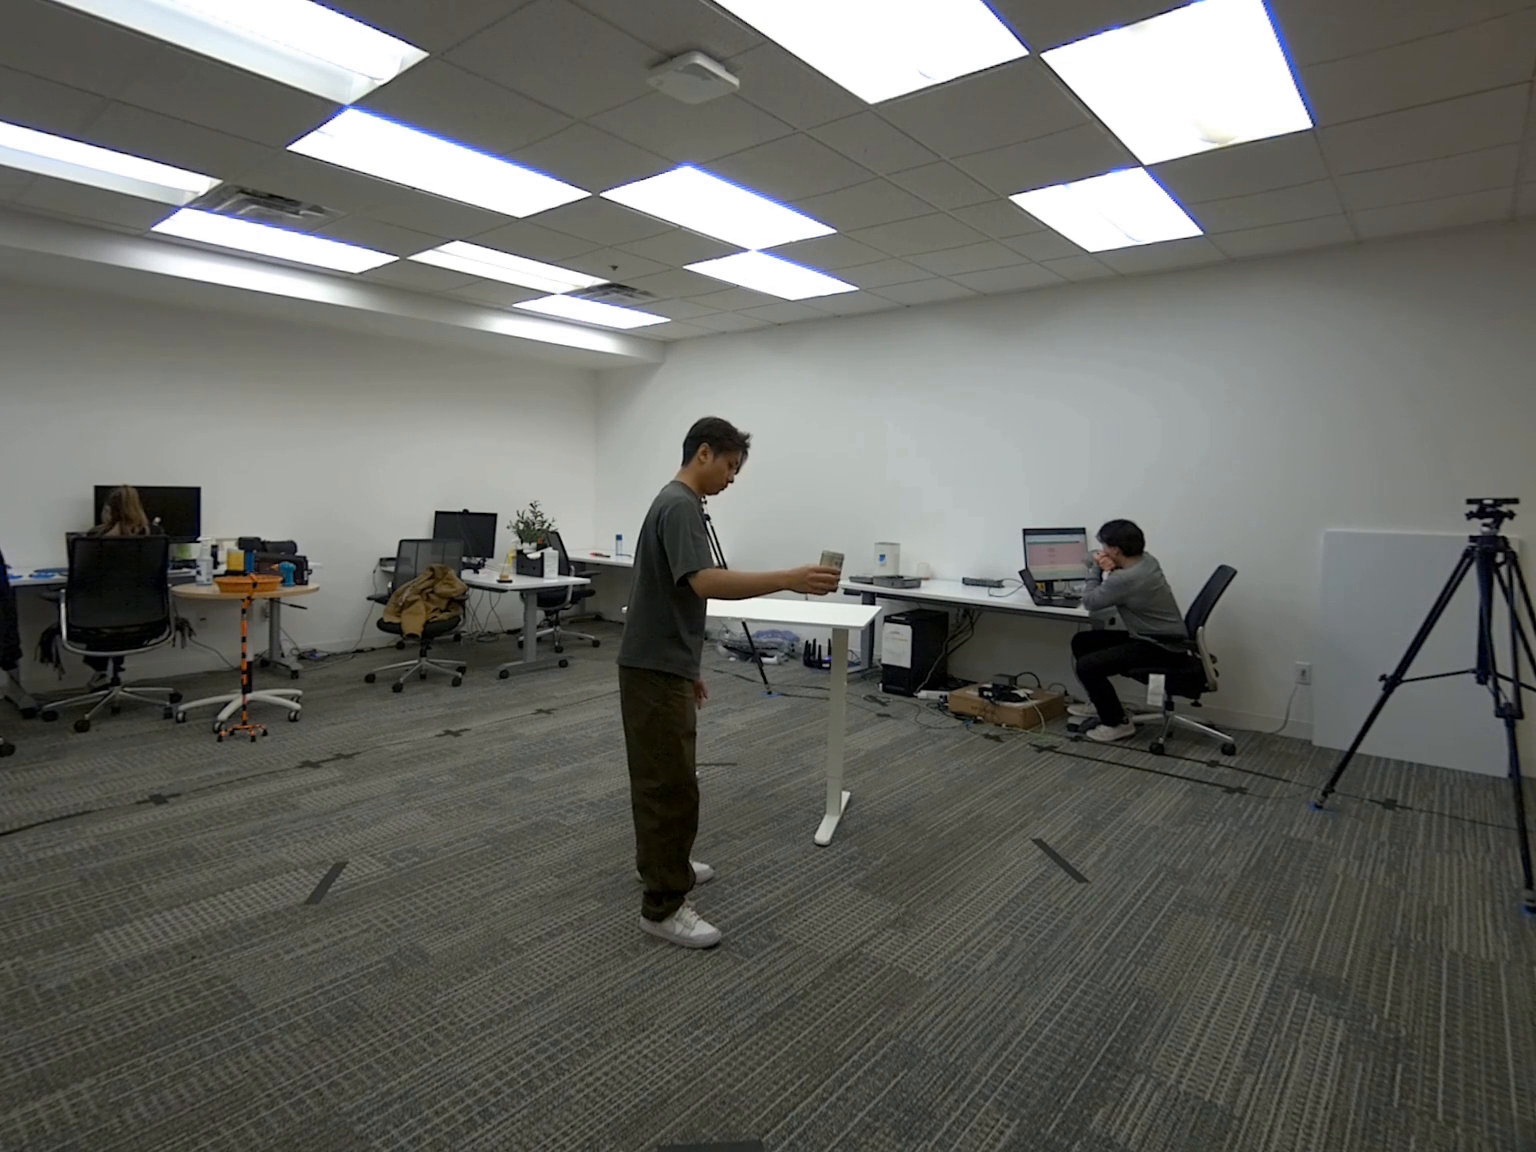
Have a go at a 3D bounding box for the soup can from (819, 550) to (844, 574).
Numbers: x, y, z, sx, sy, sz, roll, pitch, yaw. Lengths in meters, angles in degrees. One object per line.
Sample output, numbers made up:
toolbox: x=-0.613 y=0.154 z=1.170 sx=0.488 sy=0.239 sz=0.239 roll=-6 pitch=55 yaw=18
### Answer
soup can: x=0.166 y=-0.015 z=2.446 sx=0.067 sy=0.121 sz=0.067 roll=12 pitch=6 yaw=-3
